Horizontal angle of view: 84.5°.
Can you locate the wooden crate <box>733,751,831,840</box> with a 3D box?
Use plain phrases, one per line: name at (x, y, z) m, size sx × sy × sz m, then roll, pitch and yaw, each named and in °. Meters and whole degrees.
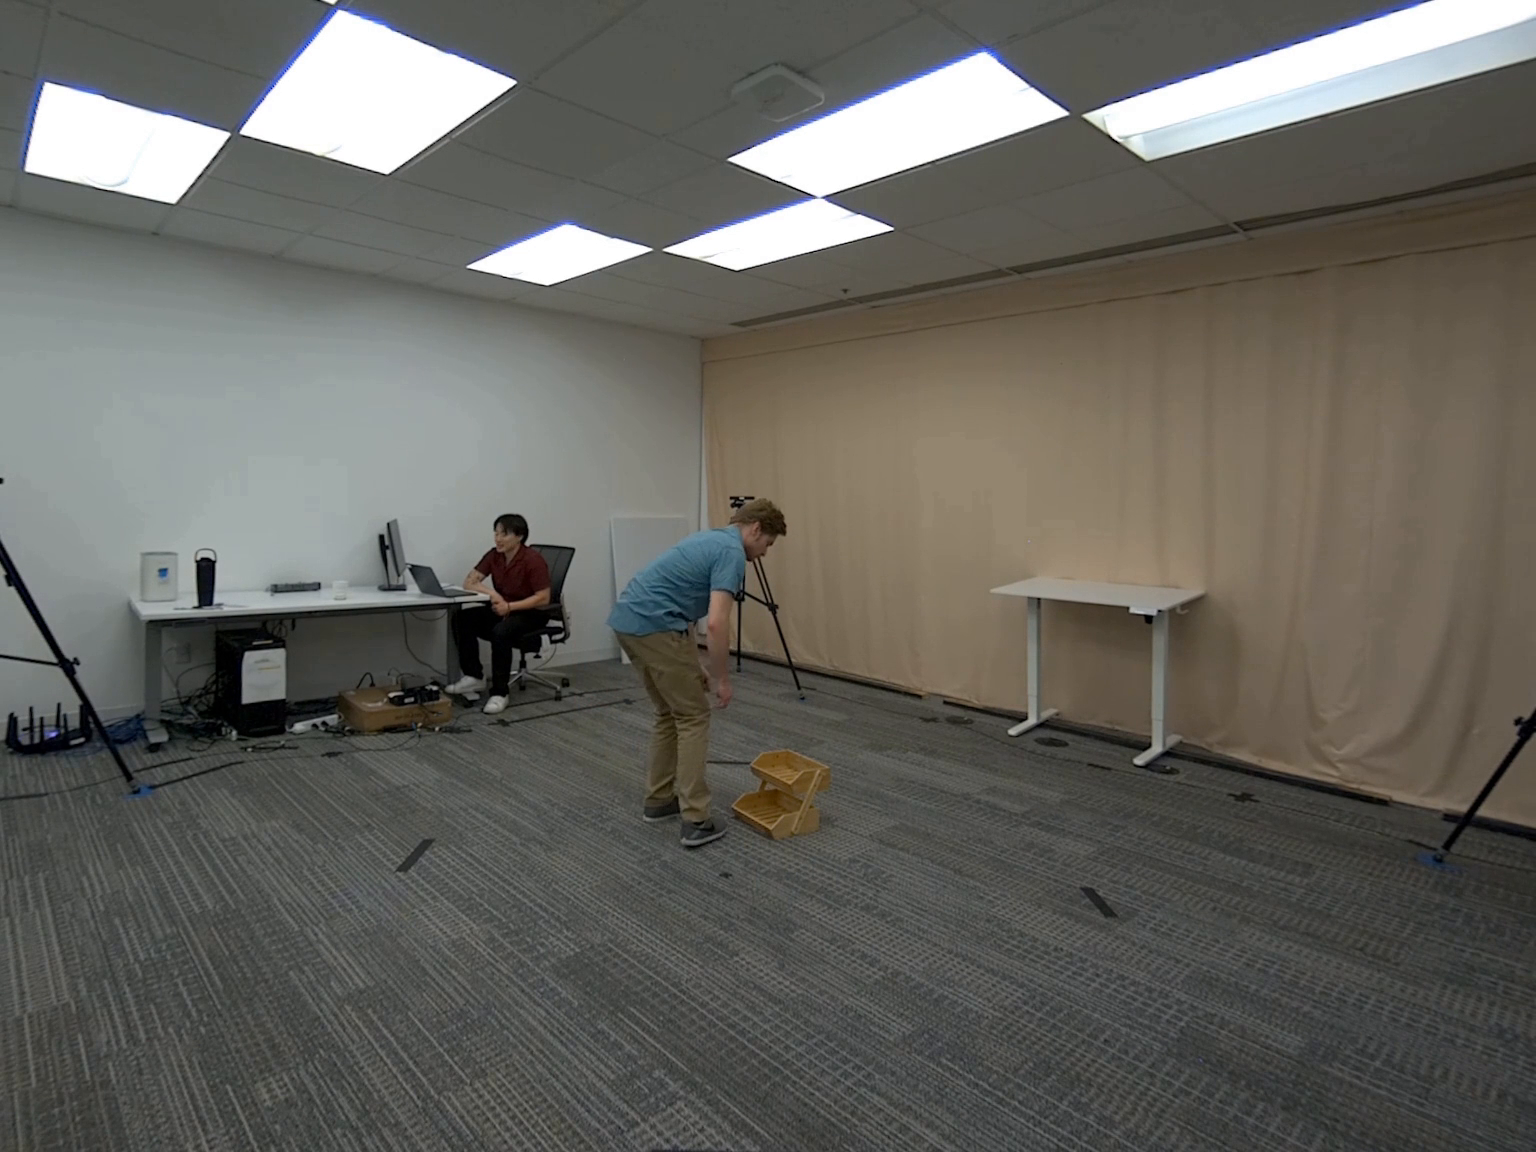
wooden crate at (0.041, 0.929, 3.628) m, size 0.295 × 0.273 × 0.332 m, roll 1°, pitch 4°, yaw -35°
